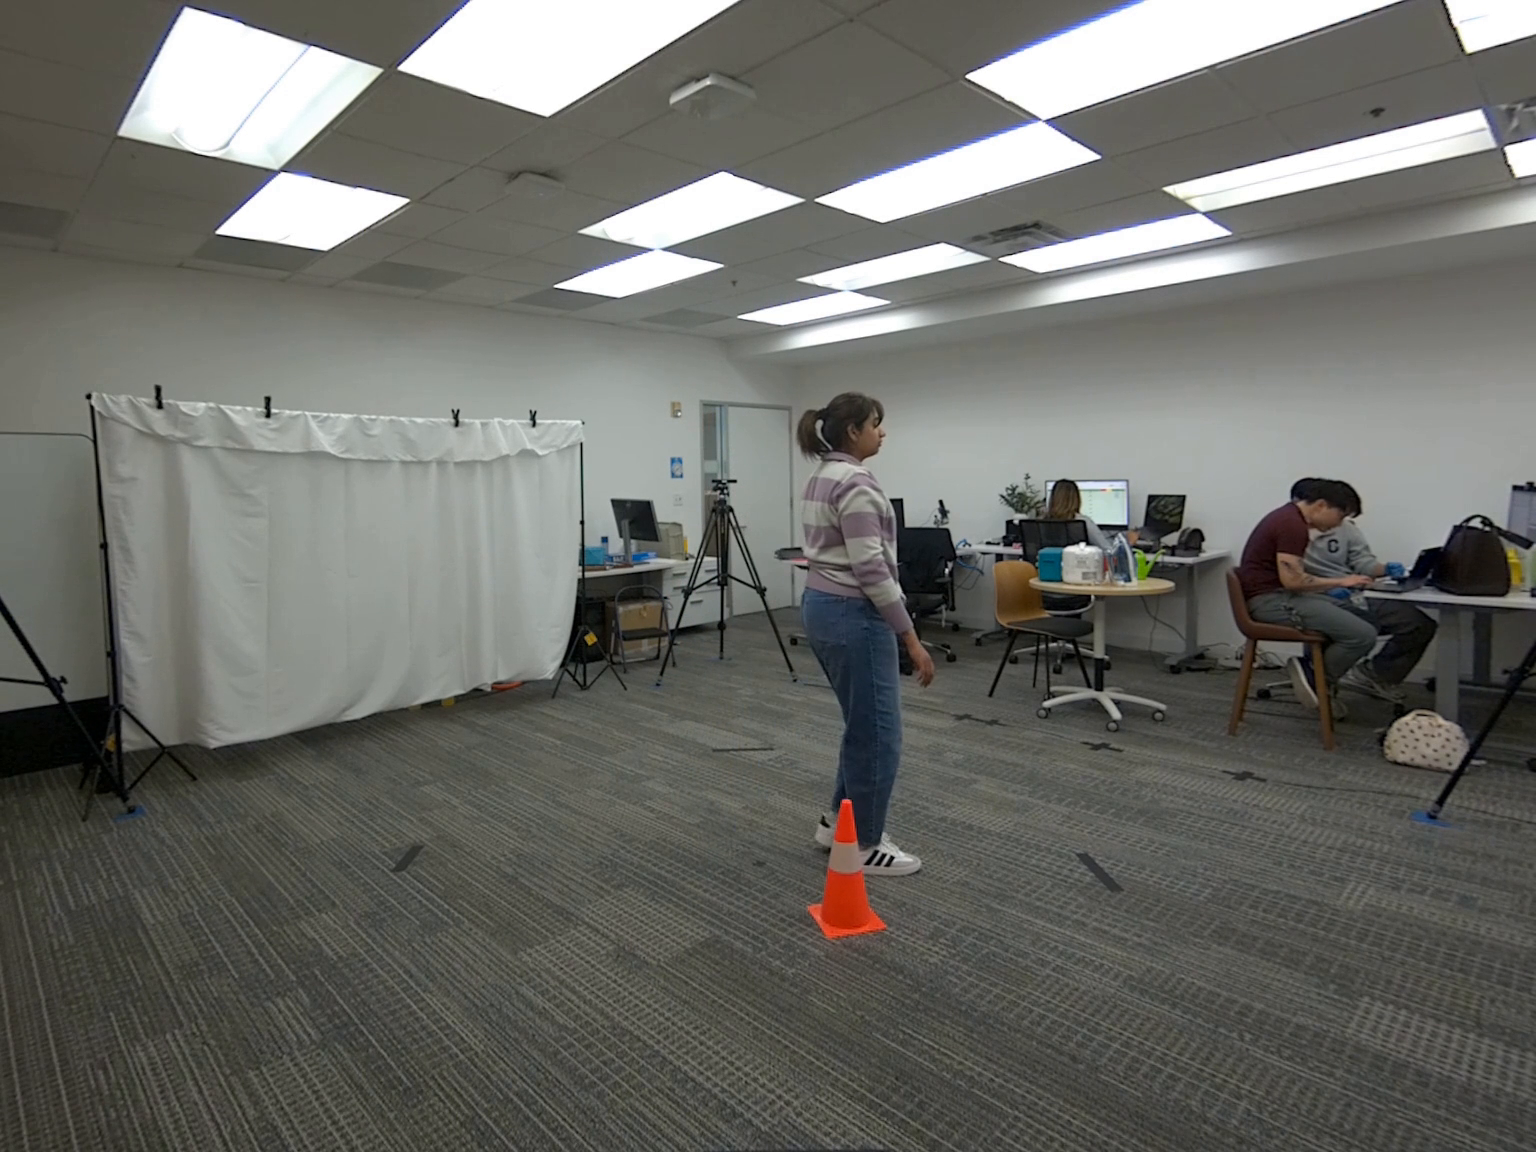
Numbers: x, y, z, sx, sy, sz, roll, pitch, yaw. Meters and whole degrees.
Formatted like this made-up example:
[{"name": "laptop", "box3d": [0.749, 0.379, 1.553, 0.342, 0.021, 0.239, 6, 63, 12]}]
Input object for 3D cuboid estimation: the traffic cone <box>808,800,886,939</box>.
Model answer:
[{"name": "traffic cone", "box3d": [0.251, 0.905, 2.699, 0.200, 0.382, 0.209, -3, 6, -17]}]
